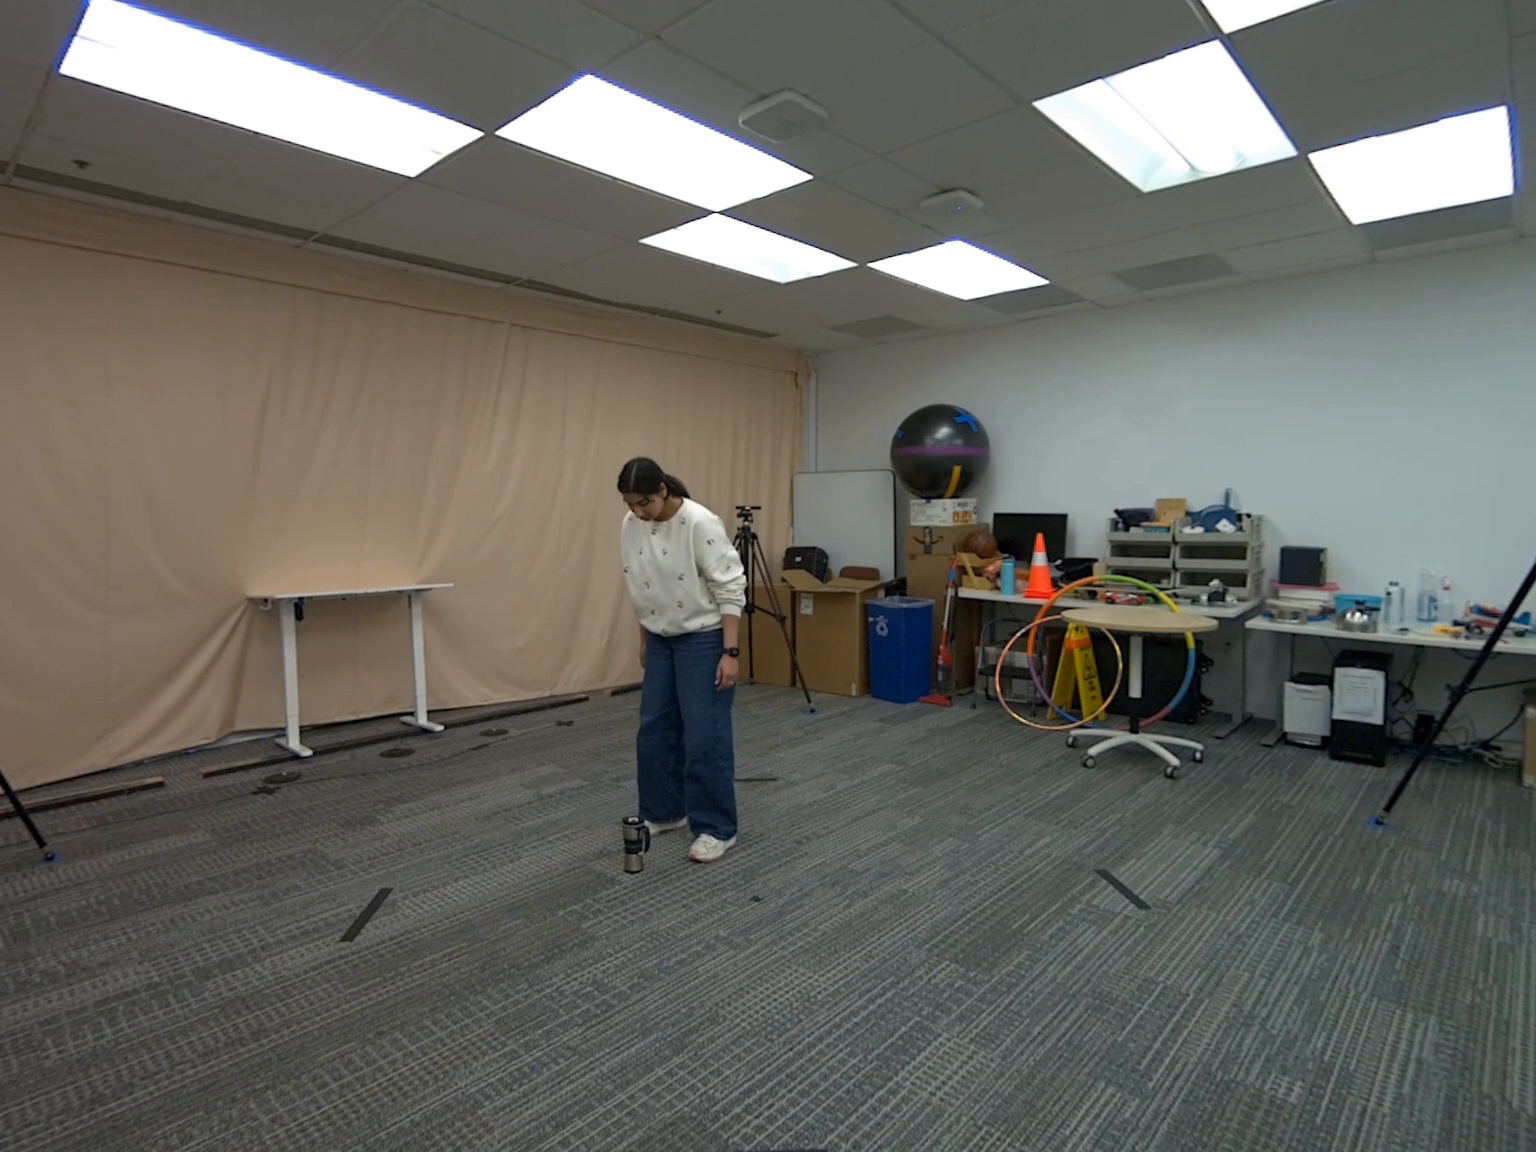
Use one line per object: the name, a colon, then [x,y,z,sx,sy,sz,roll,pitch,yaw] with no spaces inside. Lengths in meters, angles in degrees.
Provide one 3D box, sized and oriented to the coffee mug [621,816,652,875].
coffee mug: [-0.506,1.023,3.204,0.085,0.203,0.125,1,-1,-32]
